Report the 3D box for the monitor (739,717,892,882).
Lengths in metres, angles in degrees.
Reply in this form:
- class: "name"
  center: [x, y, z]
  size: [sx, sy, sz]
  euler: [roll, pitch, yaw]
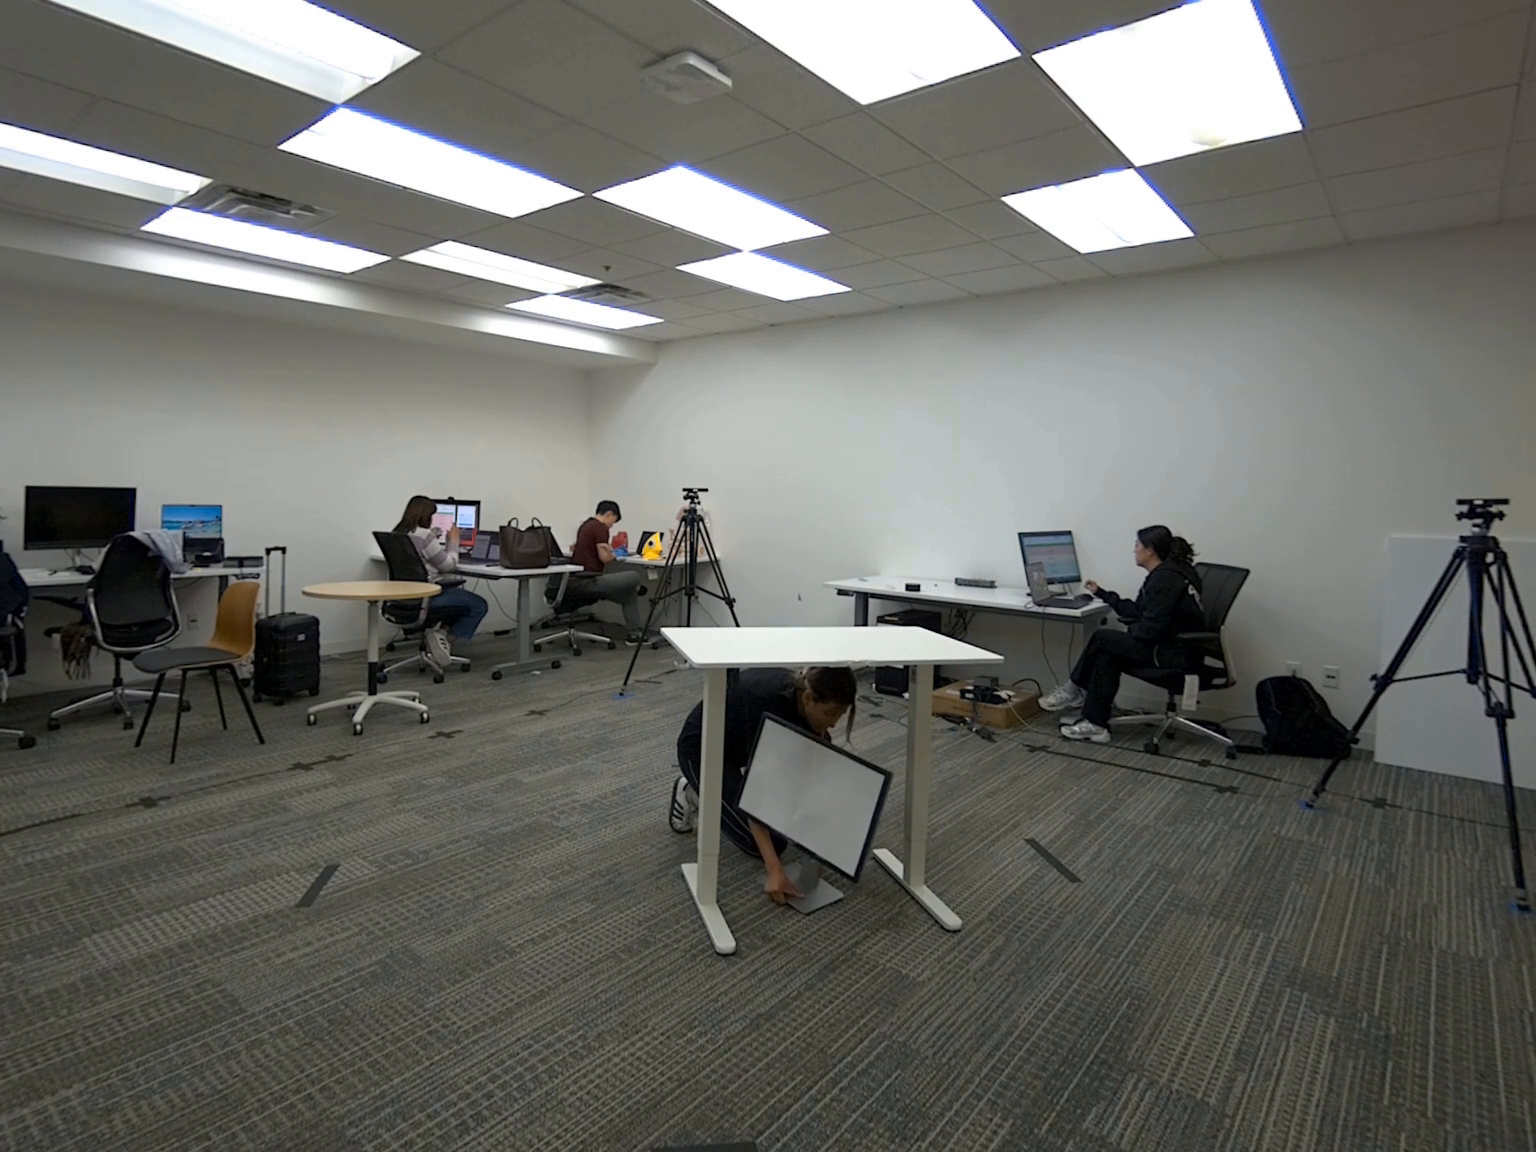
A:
- class: "monitor"
  center: [0.145, 0.810, 2.893]
  size: [0.560, 0.519, 0.181]
  euler: [16, 12, 42]
